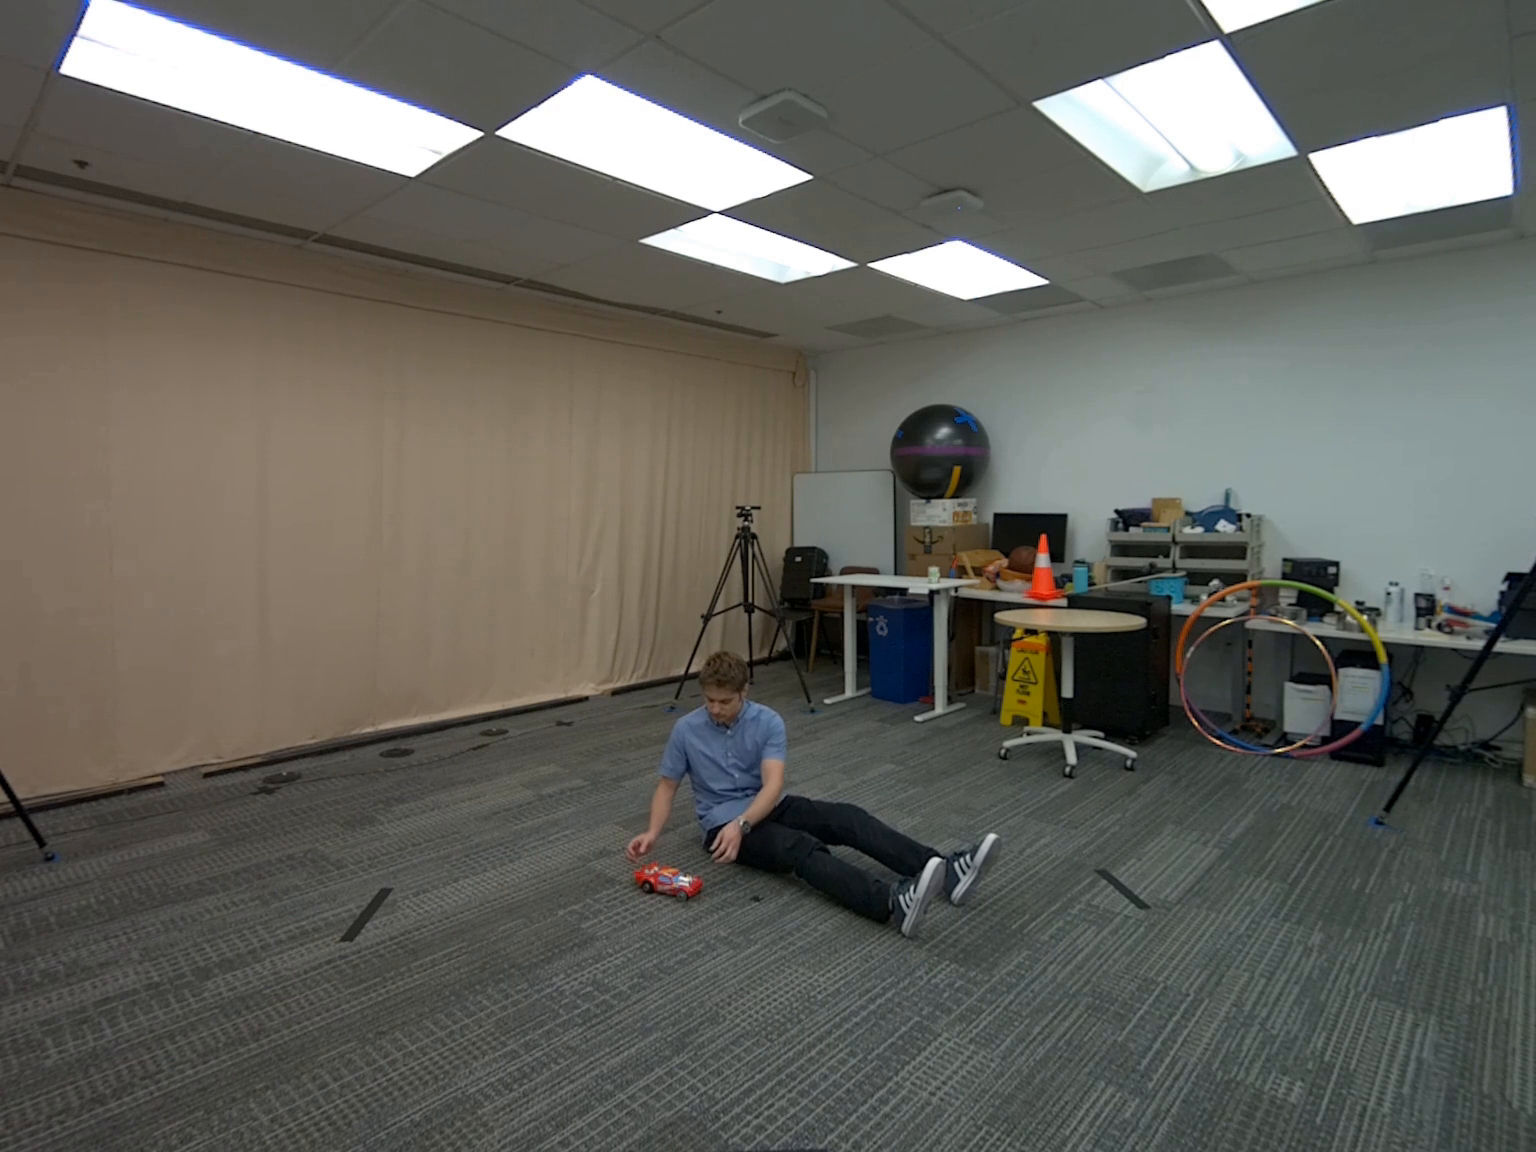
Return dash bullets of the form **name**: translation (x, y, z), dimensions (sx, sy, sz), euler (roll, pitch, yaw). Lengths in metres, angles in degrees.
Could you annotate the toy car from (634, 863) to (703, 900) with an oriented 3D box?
- **toy car**: translation (-0.371, 1.109, 3.052), dimensions (0.261, 0.083, 0.127), euler (12, 10, 24)
